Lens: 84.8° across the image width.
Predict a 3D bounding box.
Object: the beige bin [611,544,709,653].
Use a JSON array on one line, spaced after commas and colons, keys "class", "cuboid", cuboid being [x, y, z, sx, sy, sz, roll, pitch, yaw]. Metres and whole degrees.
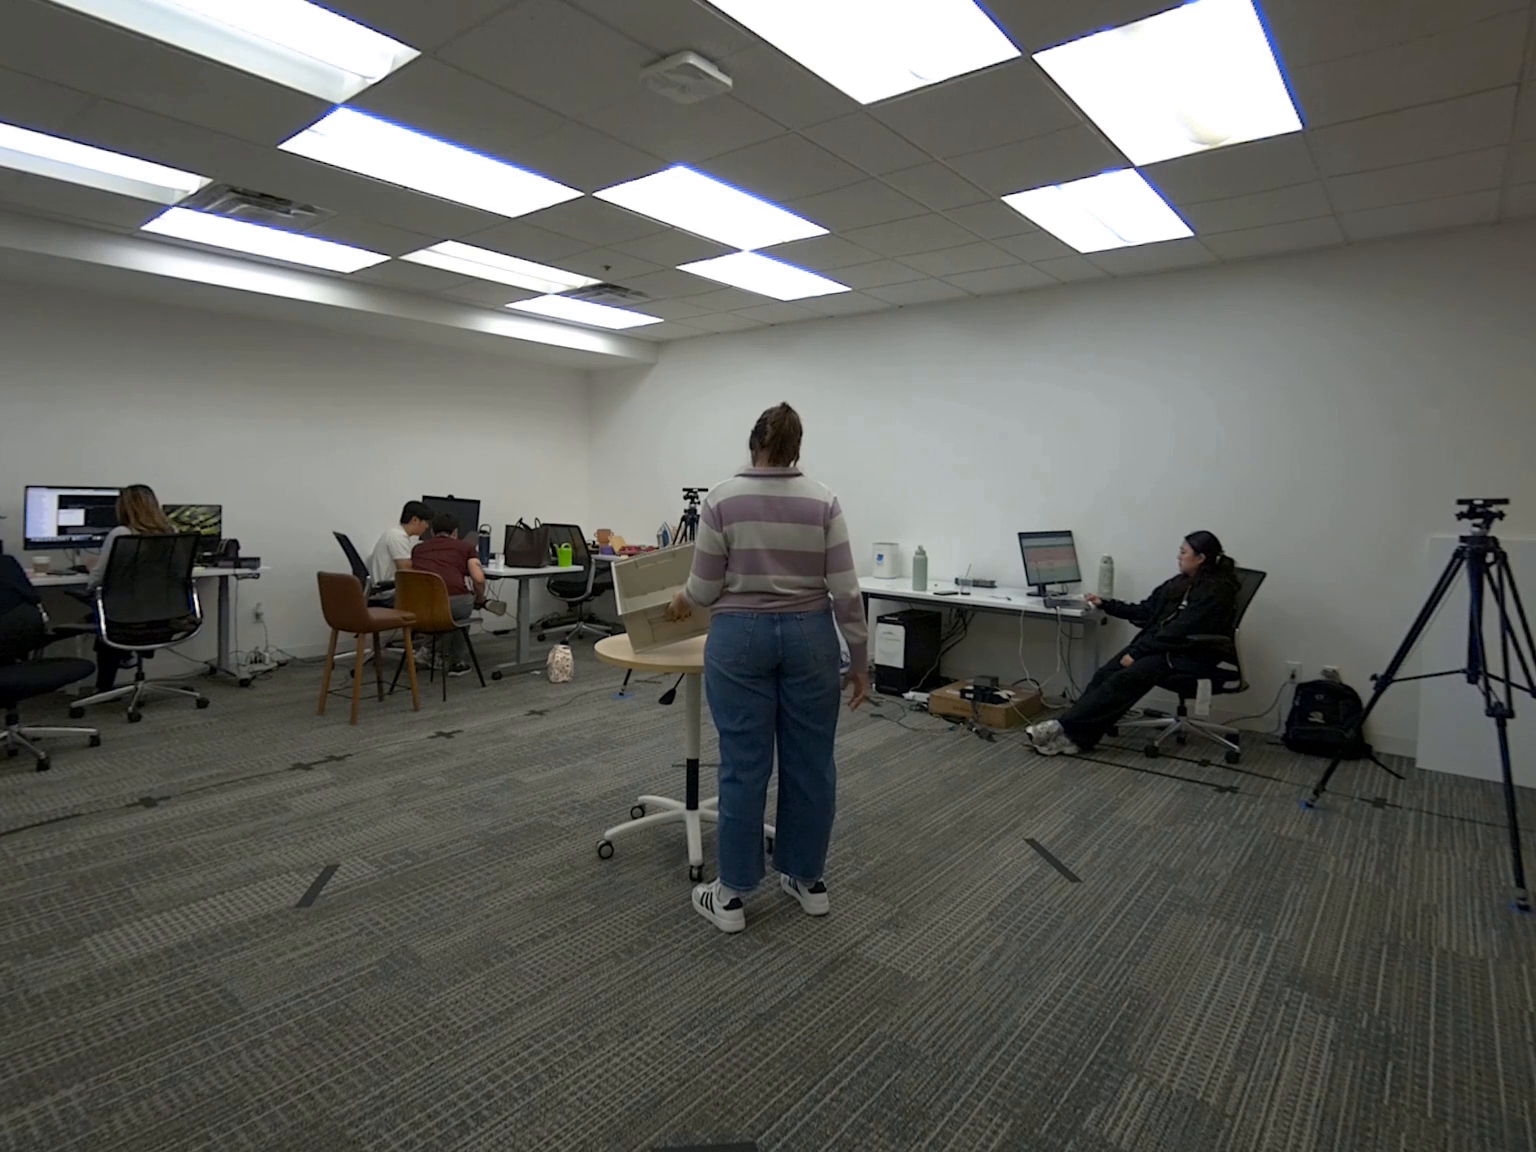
[{"class": "beige bin", "cuboid": [-0.389, 0.069, 3.269, 0.376, 0.183, 0.436, -16, 29, -5]}]
